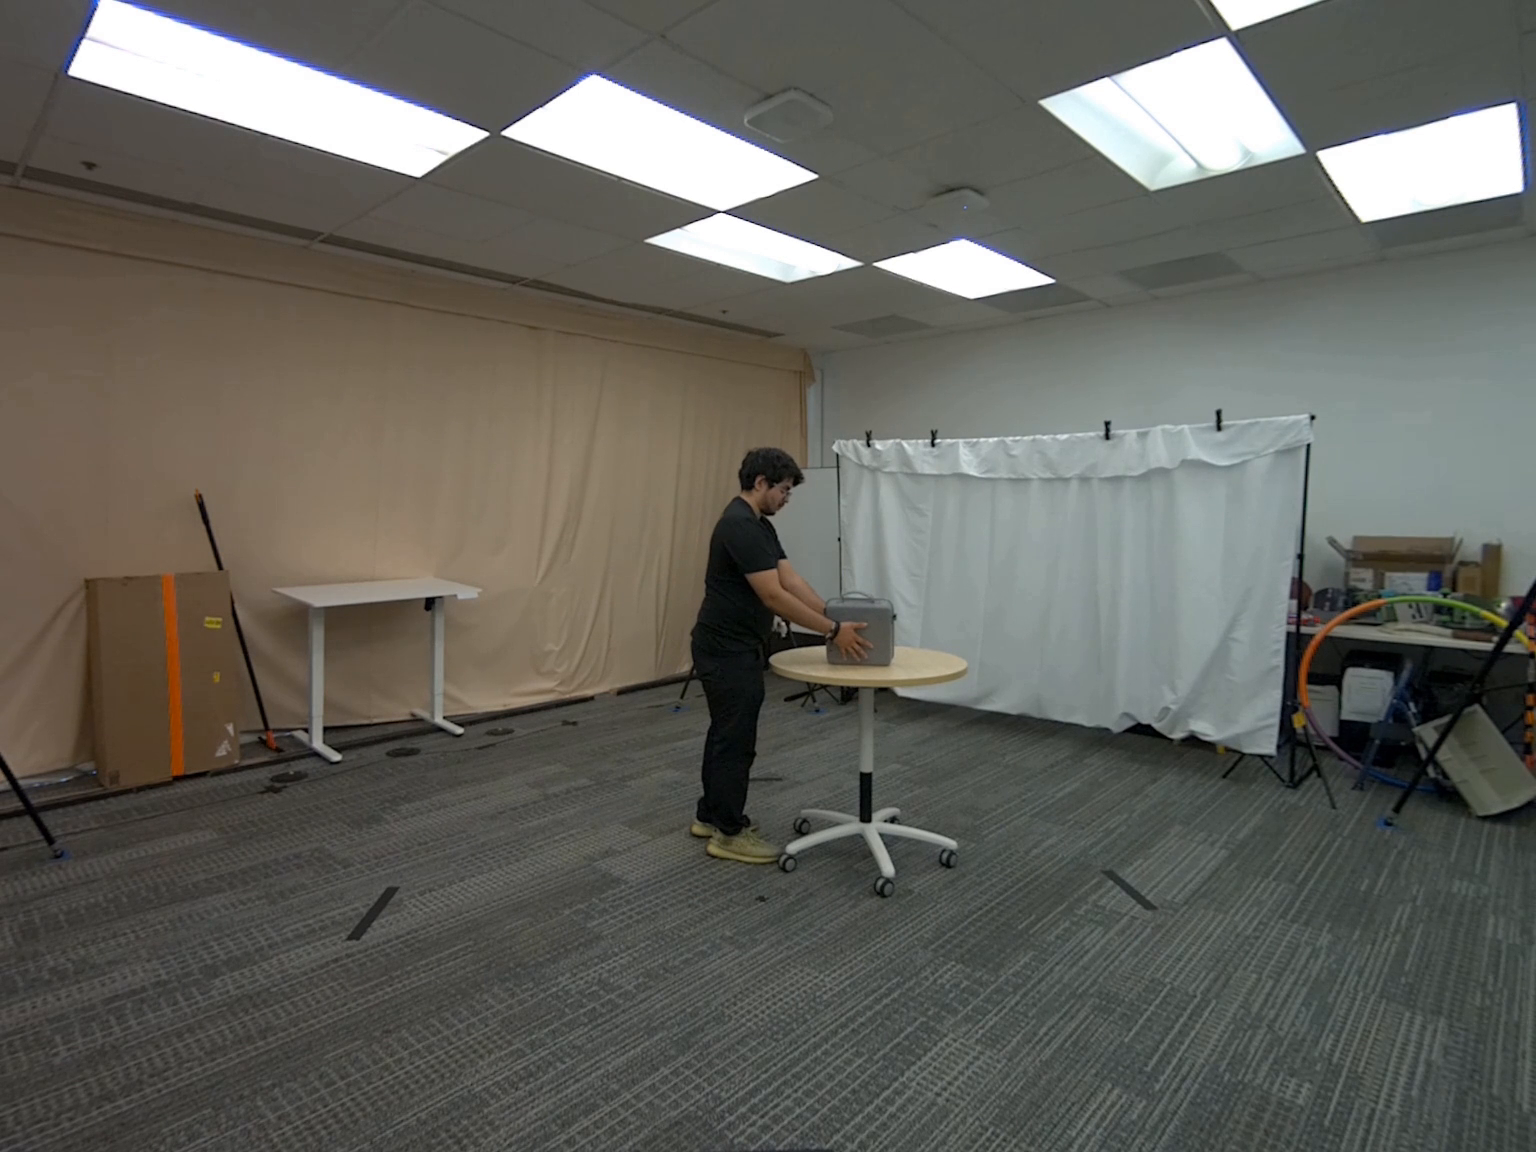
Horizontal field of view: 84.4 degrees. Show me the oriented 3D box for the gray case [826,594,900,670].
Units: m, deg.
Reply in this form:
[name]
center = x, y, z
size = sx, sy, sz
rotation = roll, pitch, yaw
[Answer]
[gray case]
center = 0.360, 0.208, 3.203
size = 0.260, 0.258, 0.104
rotation = -1, 12, 13
